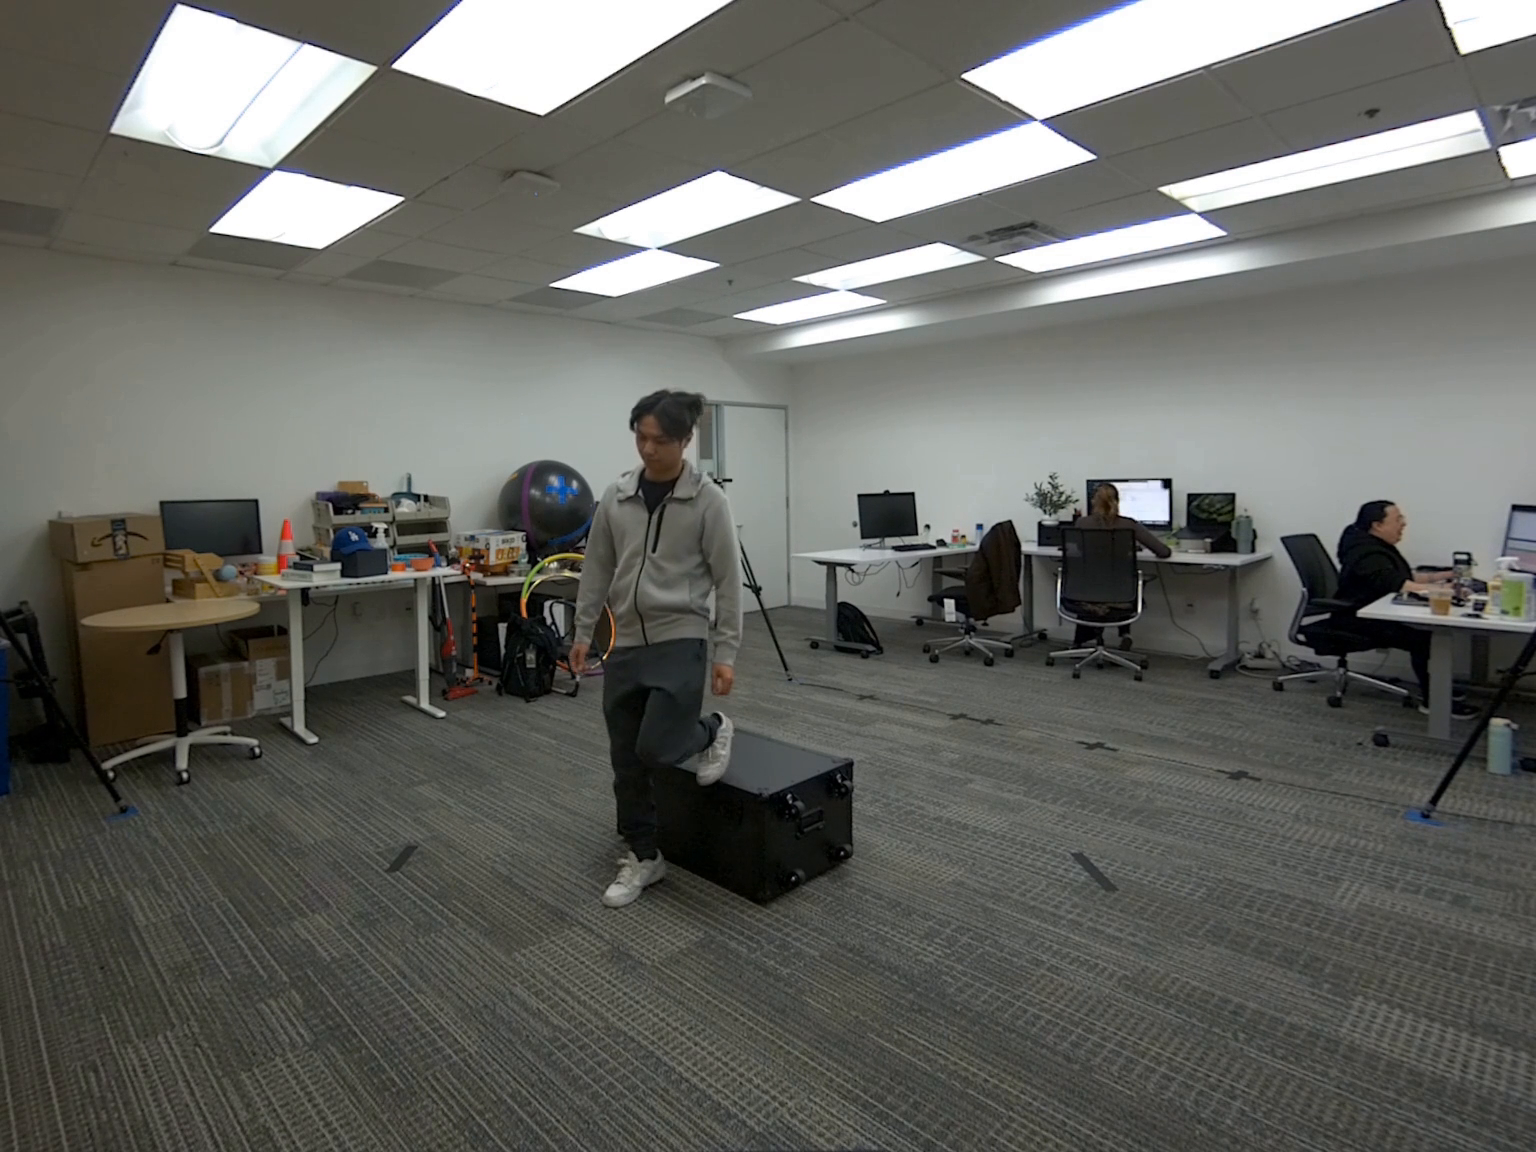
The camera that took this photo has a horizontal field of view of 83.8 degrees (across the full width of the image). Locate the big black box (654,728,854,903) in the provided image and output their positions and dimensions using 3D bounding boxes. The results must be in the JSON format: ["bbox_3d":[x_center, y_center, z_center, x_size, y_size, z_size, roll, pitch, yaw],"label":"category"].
[{"bbox_3d":[-0.115,0.847,3.189,0.888,0.394,0.508,4,8,43],"label":"big black box"}]
